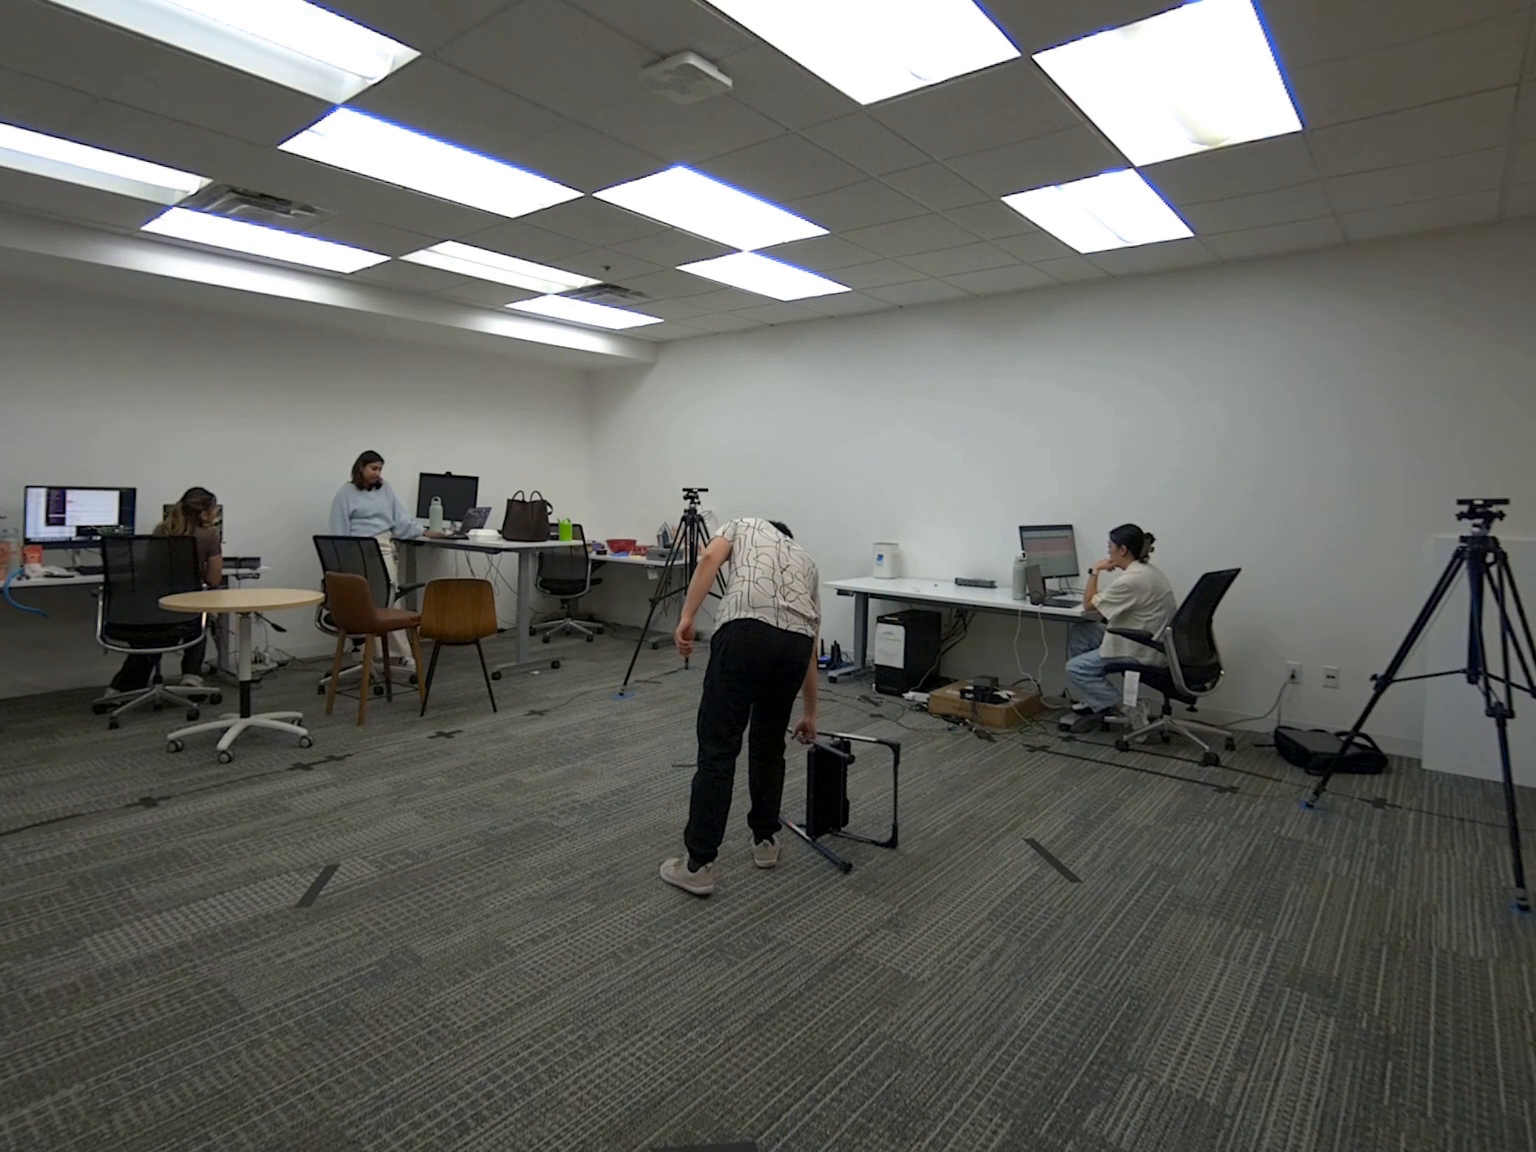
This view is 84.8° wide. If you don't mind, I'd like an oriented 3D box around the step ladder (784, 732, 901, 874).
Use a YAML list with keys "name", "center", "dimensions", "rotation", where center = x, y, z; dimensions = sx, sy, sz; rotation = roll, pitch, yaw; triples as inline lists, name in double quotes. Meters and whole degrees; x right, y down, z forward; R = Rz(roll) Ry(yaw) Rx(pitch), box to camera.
- name: "step ladder"
  center: [0.172, 0.835, 3.425]
  dimensions: [0.626, 0.430, 0.338]
  rotation: [4, 3, 44]
